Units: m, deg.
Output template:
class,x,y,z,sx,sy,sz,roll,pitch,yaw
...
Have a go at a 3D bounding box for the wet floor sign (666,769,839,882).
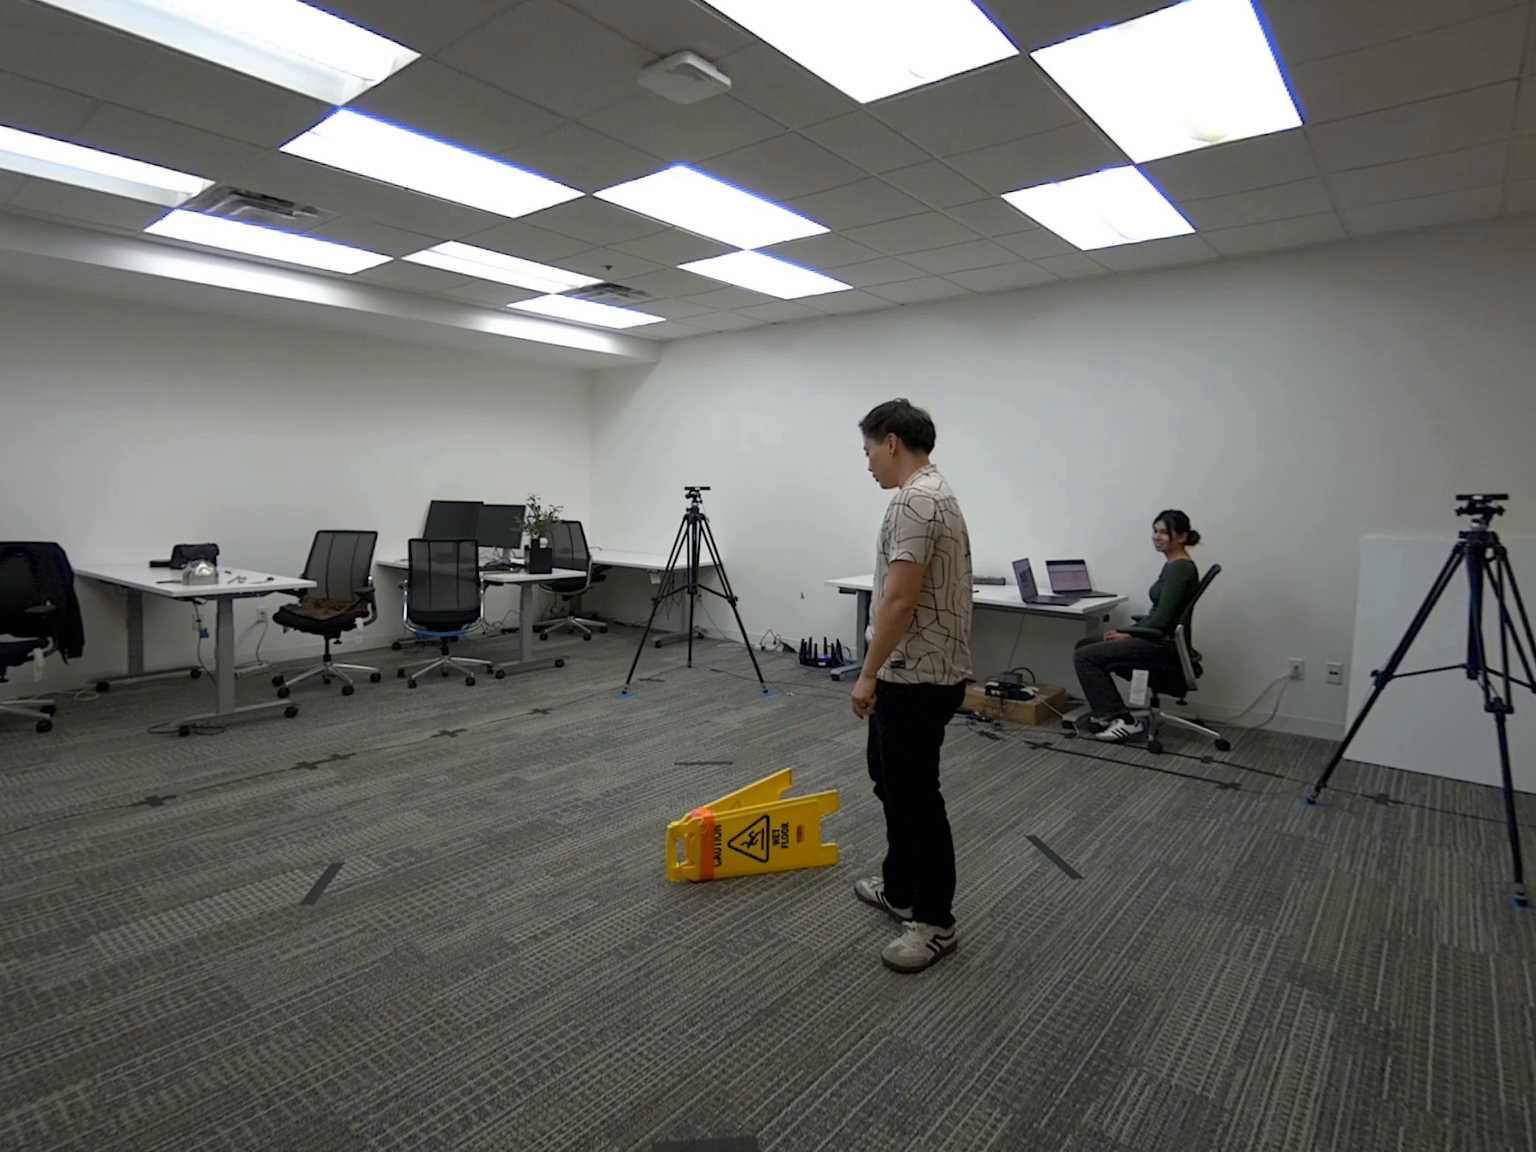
class,x,y,z,sx,sy,sz,roll,pitch,yaw
wet floor sign,-0.093,0.935,3.109,0.628,0.281,0.299,-4,6,-34
